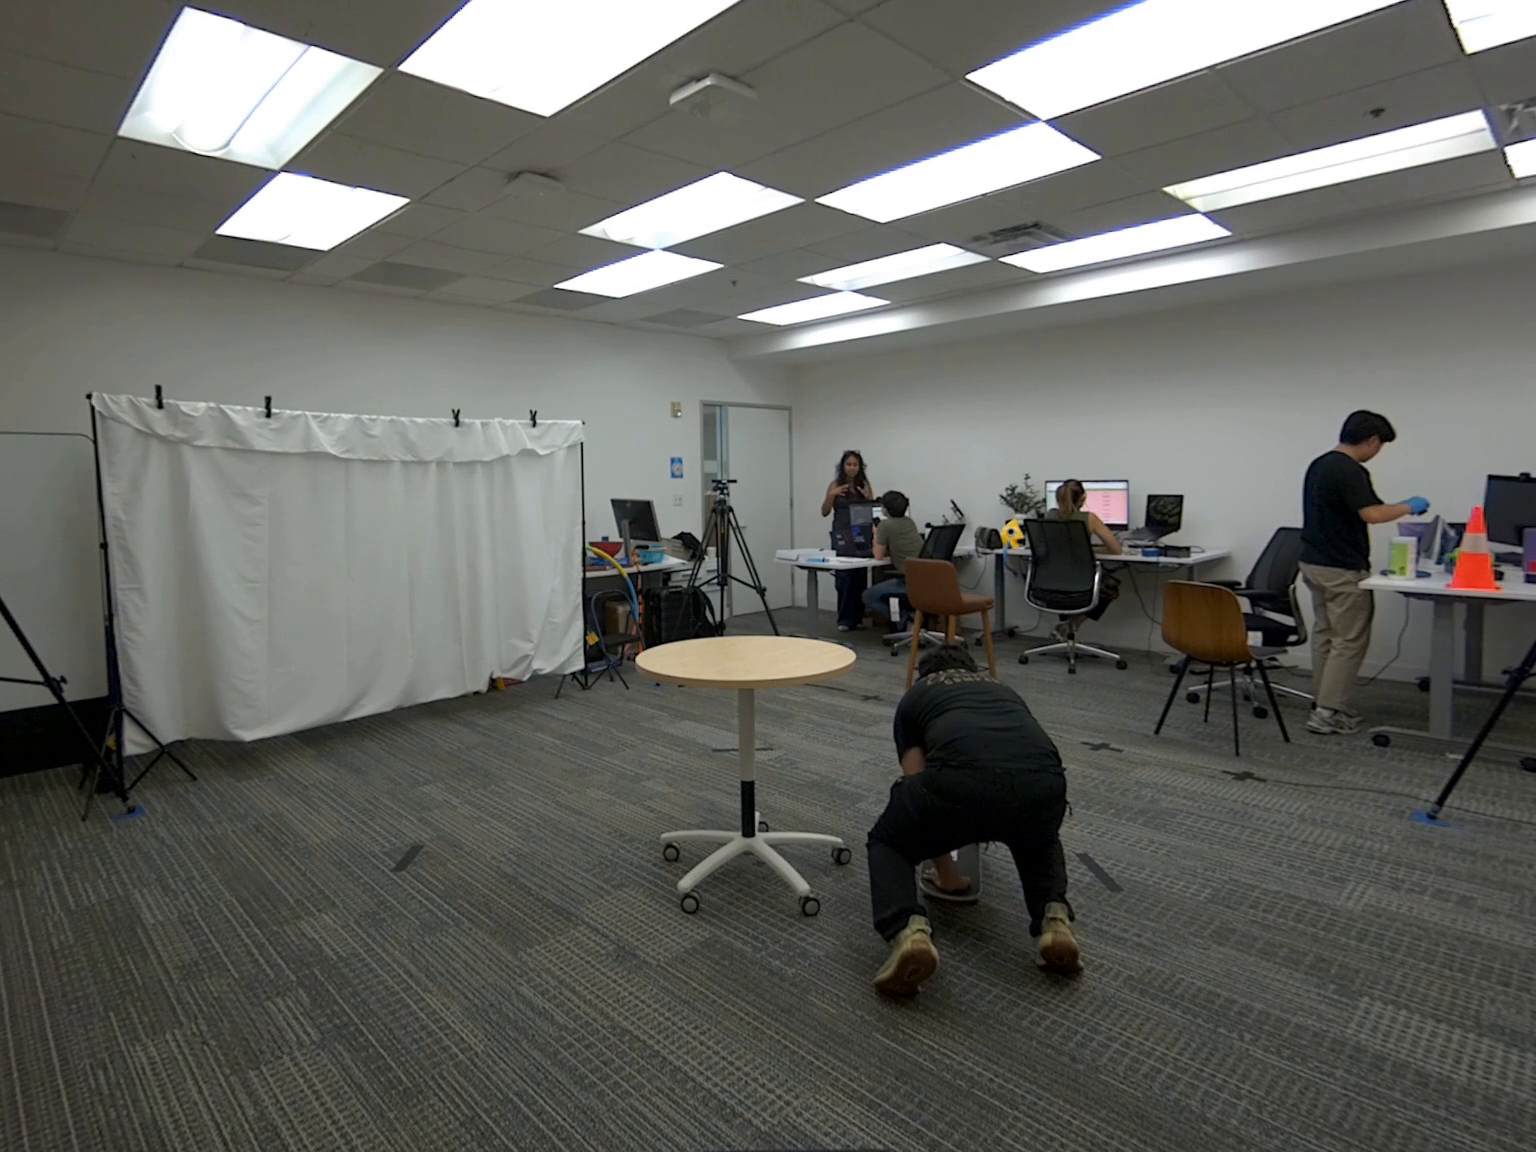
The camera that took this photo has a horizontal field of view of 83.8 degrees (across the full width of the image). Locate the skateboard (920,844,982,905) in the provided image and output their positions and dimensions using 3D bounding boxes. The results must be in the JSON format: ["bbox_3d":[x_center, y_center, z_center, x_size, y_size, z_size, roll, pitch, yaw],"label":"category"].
[{"bbox_3d":[0.654,0.990,3.011,0.196,0.110,0.779,2,7,11],"label":"skateboard"}]
